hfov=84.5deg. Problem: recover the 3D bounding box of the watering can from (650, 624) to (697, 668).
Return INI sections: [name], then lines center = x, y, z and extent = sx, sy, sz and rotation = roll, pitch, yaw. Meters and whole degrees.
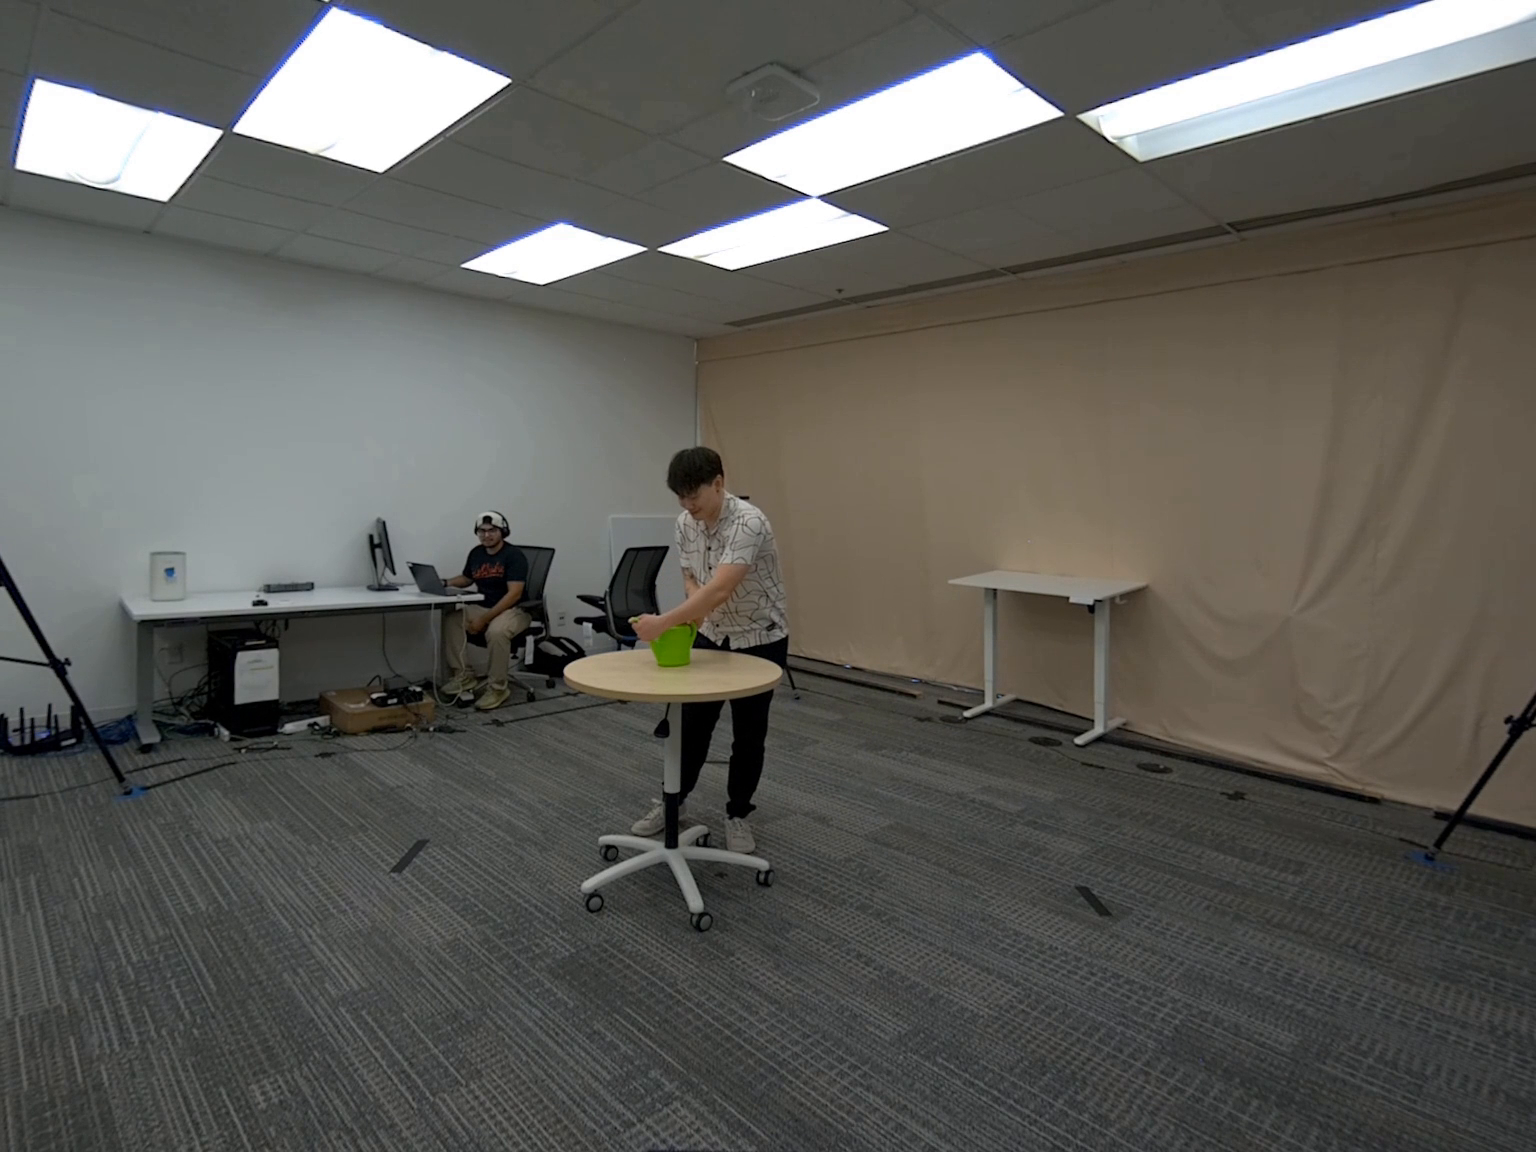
[watering can]
center = -0.388, 0.232, 3.018
extent = 0.273, 0.177, 0.100
rotation = 2, 2, -26
